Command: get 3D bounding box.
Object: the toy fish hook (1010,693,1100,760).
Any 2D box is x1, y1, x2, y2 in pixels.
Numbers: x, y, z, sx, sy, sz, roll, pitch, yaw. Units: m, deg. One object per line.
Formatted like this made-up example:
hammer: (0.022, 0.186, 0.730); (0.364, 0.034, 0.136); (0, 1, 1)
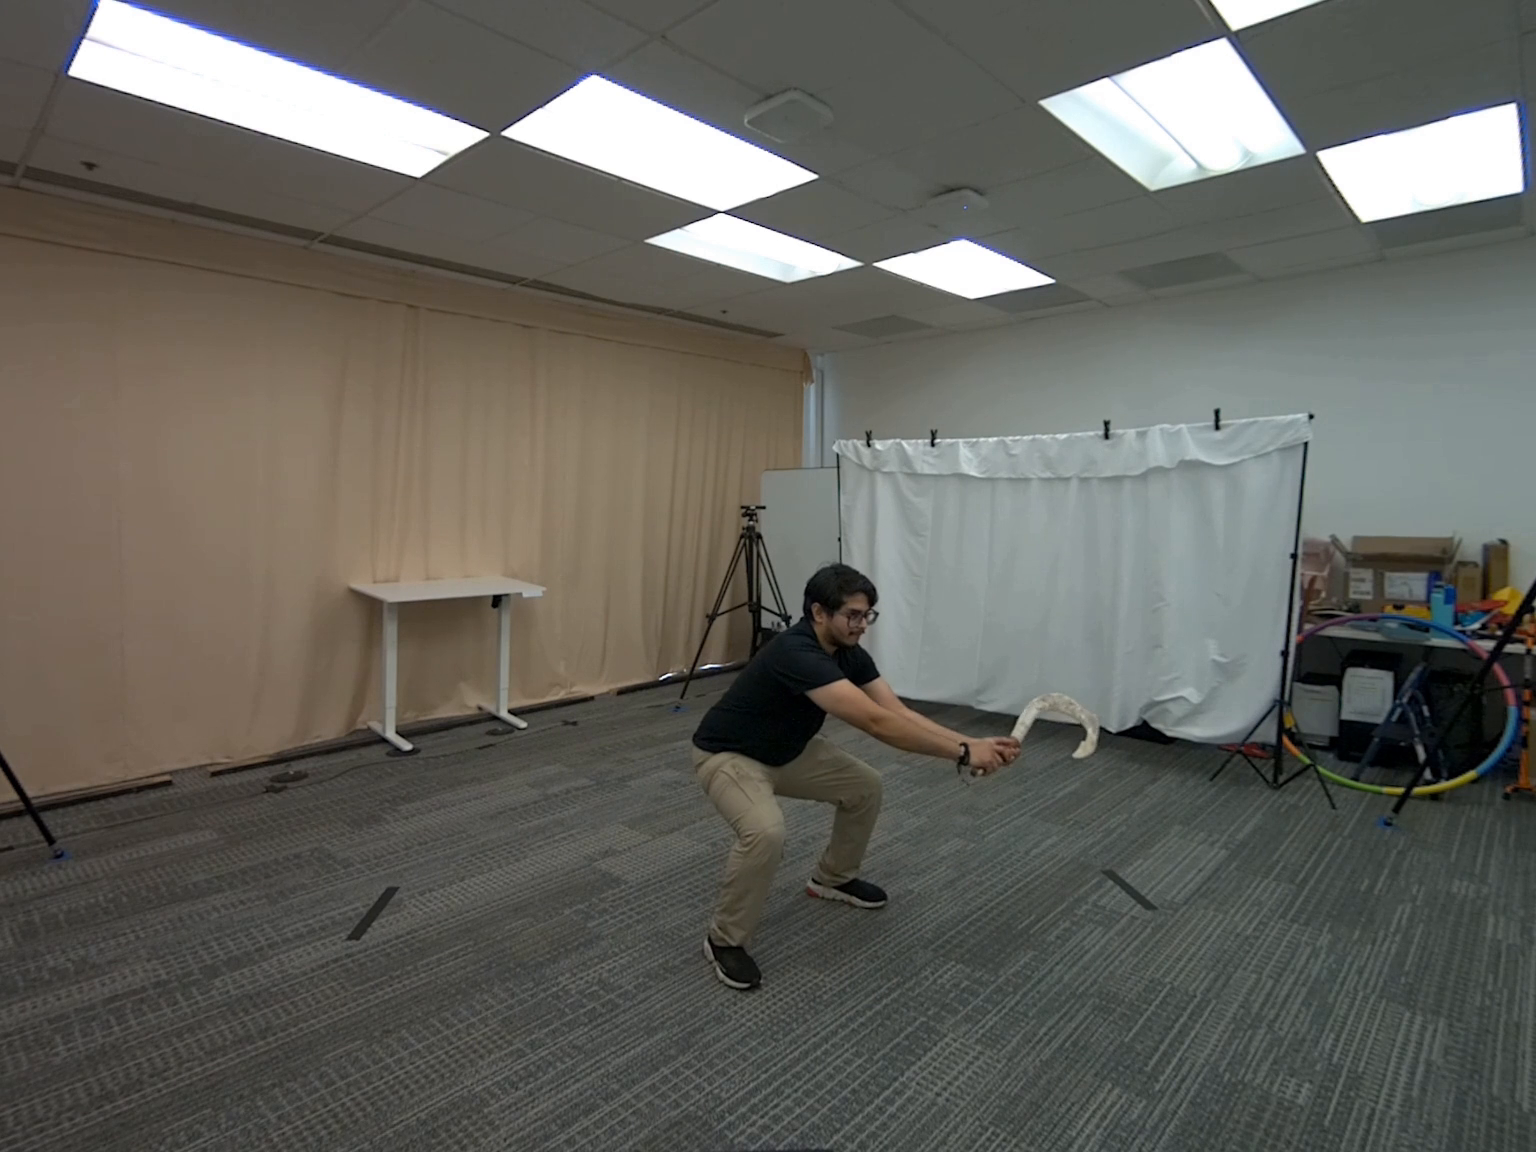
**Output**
toy fish hook: (0.814, 0.493, 2.504); (0.497, 0.047, 0.233); (-24, 45, -30)
